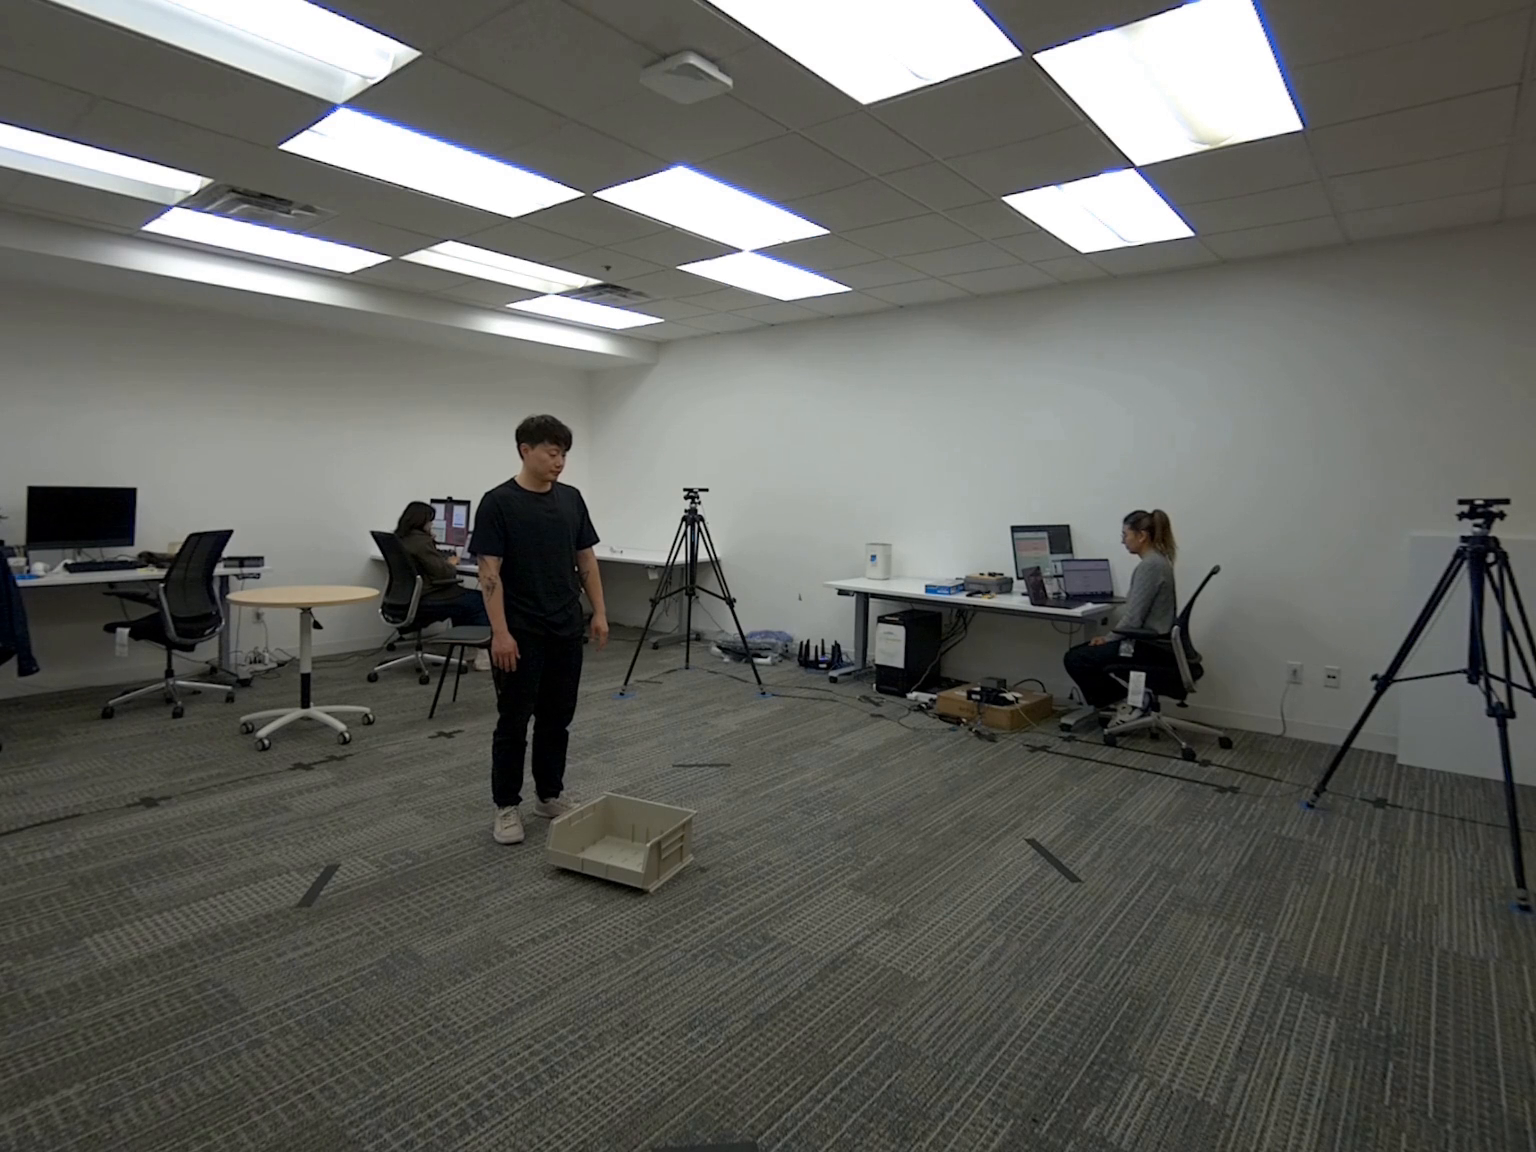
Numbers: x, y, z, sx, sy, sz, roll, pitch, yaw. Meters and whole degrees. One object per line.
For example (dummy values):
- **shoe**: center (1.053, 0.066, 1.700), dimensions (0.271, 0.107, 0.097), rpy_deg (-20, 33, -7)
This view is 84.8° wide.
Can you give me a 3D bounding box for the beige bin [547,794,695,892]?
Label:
- **beige bin**: center (-0.542, 0.974, 3.121), dimensions (0.433, 0.188, 0.368), rpy_deg (2, 4, 25)
